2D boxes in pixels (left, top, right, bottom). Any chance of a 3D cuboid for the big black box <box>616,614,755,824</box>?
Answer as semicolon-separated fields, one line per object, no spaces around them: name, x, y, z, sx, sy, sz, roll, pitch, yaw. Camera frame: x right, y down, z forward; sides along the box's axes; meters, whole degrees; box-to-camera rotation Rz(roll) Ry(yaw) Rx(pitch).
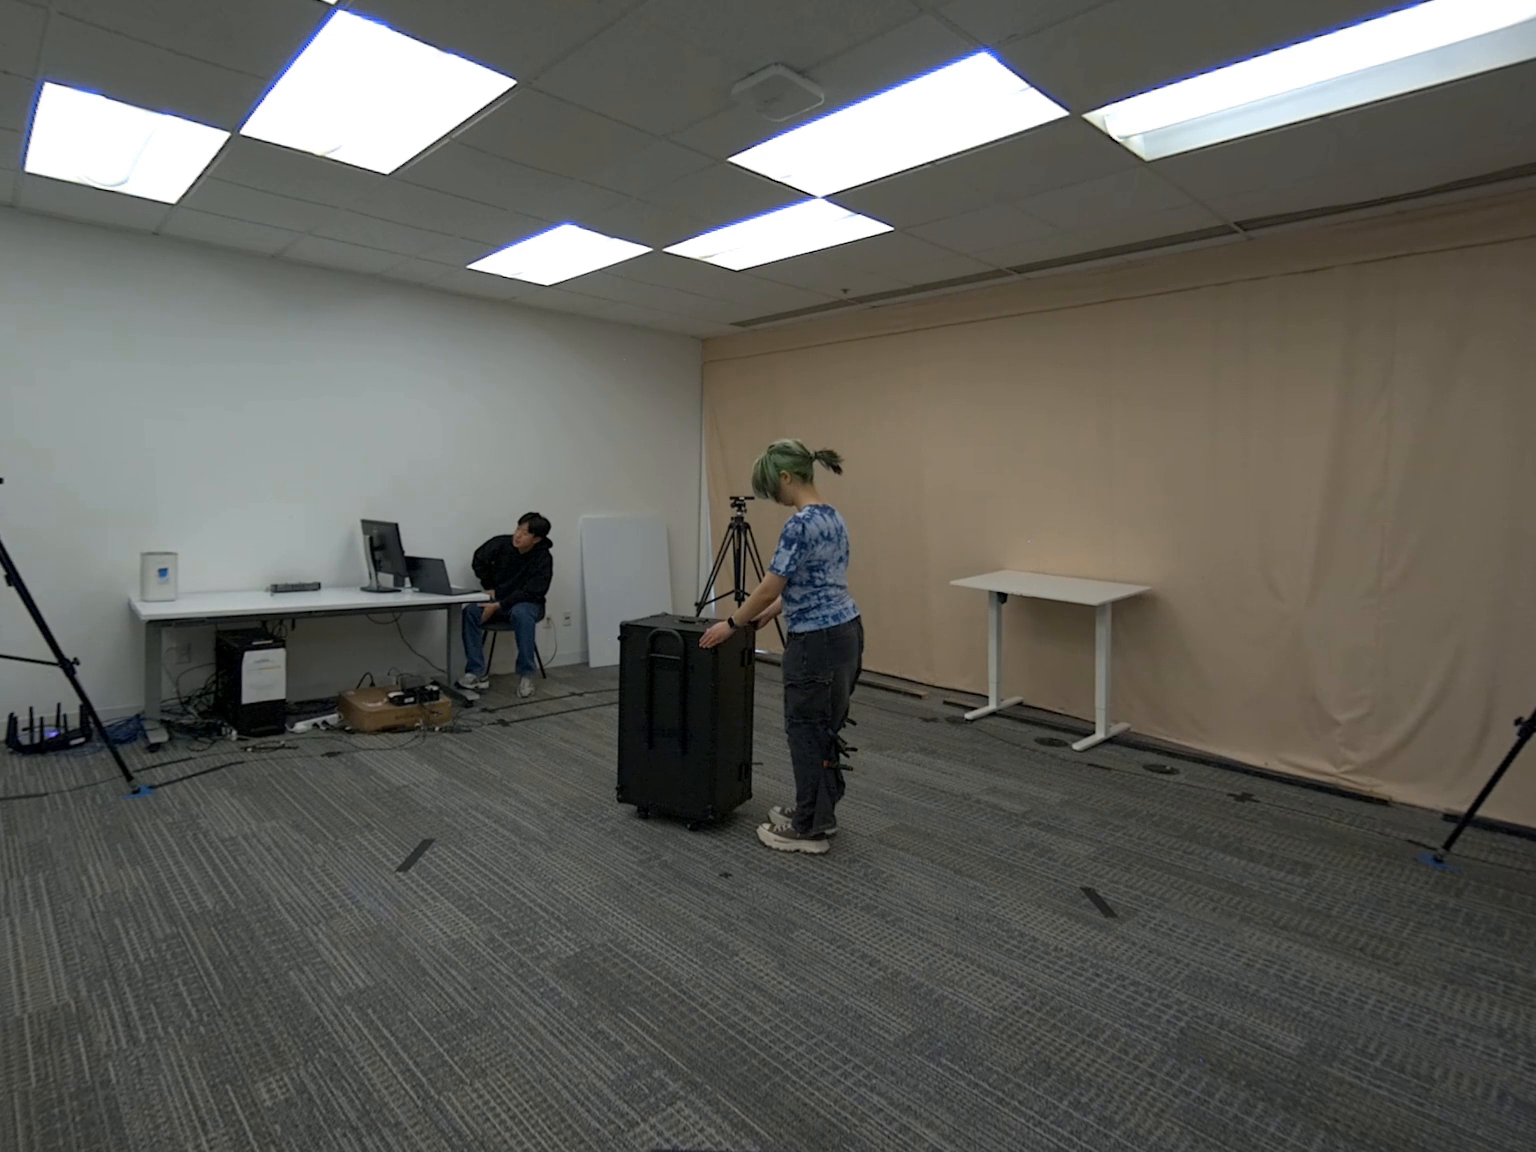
big black box;-0.354;0.629;3.645;0.532;0.859;0.389;4;5;26
